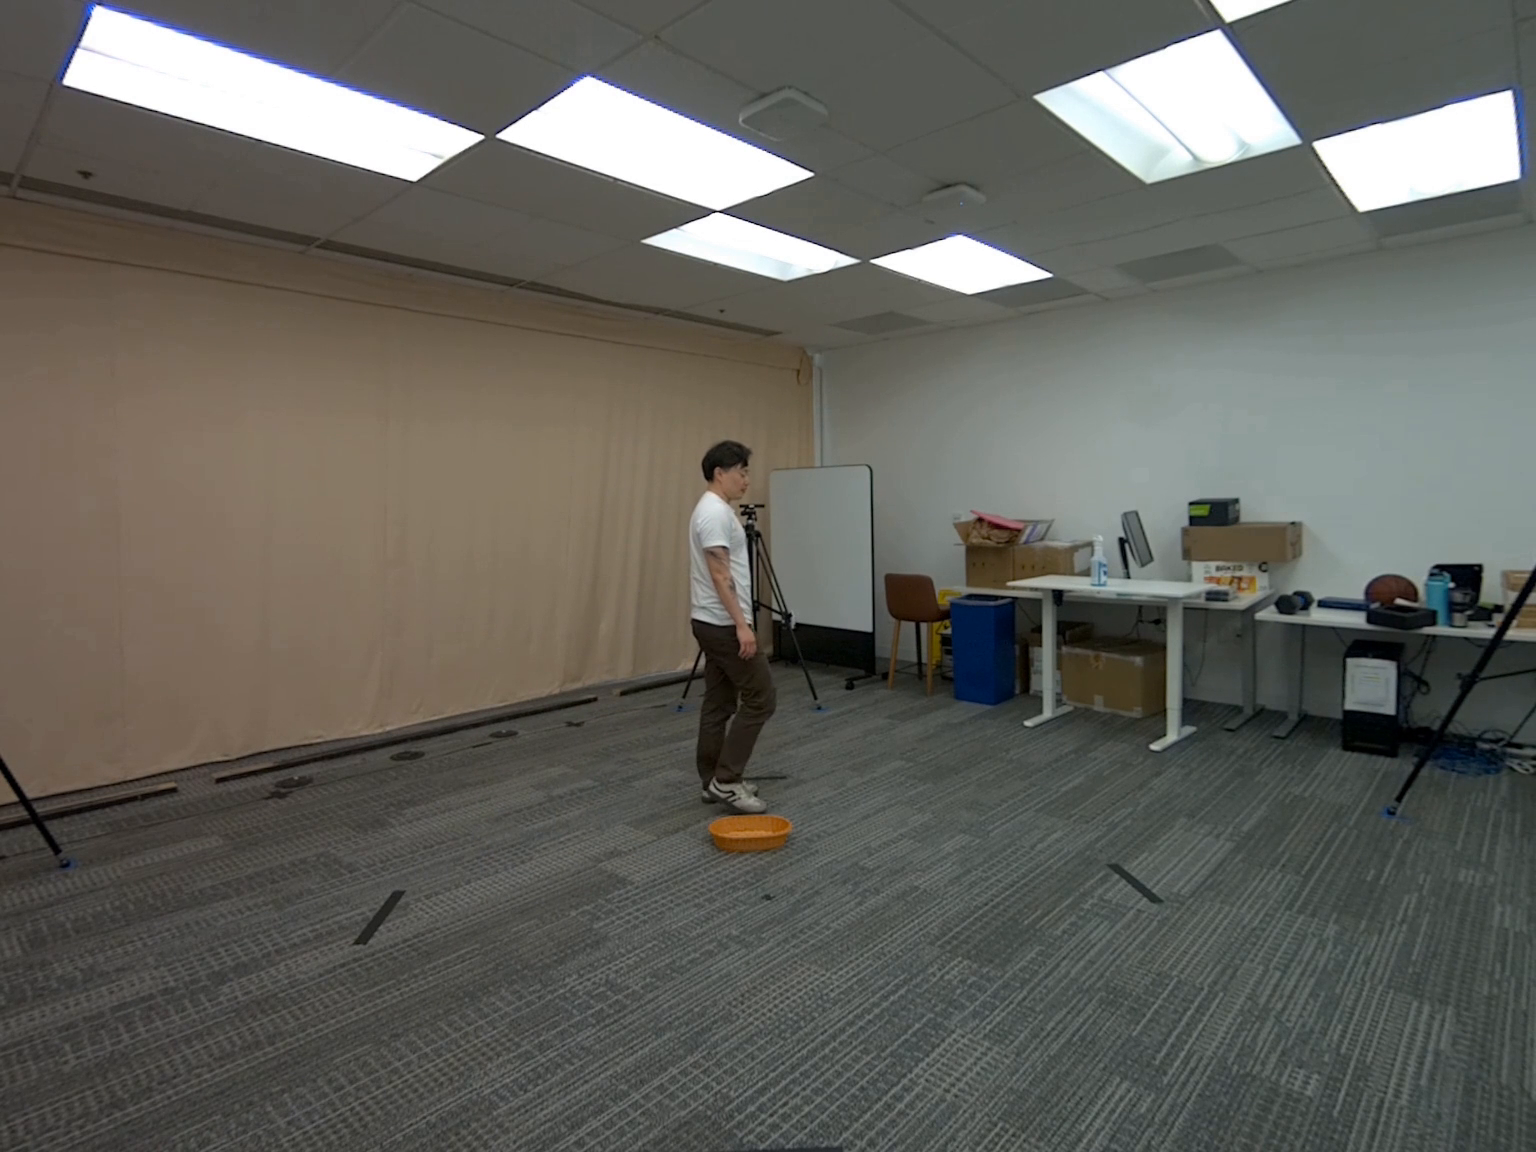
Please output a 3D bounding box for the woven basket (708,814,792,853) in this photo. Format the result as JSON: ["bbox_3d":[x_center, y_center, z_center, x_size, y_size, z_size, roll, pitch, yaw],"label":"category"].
[{"bbox_3d":[-0.072,1.056,3.473,0.349,0.073,0.254,-2,4,-4],"label":"woven basket"}]
